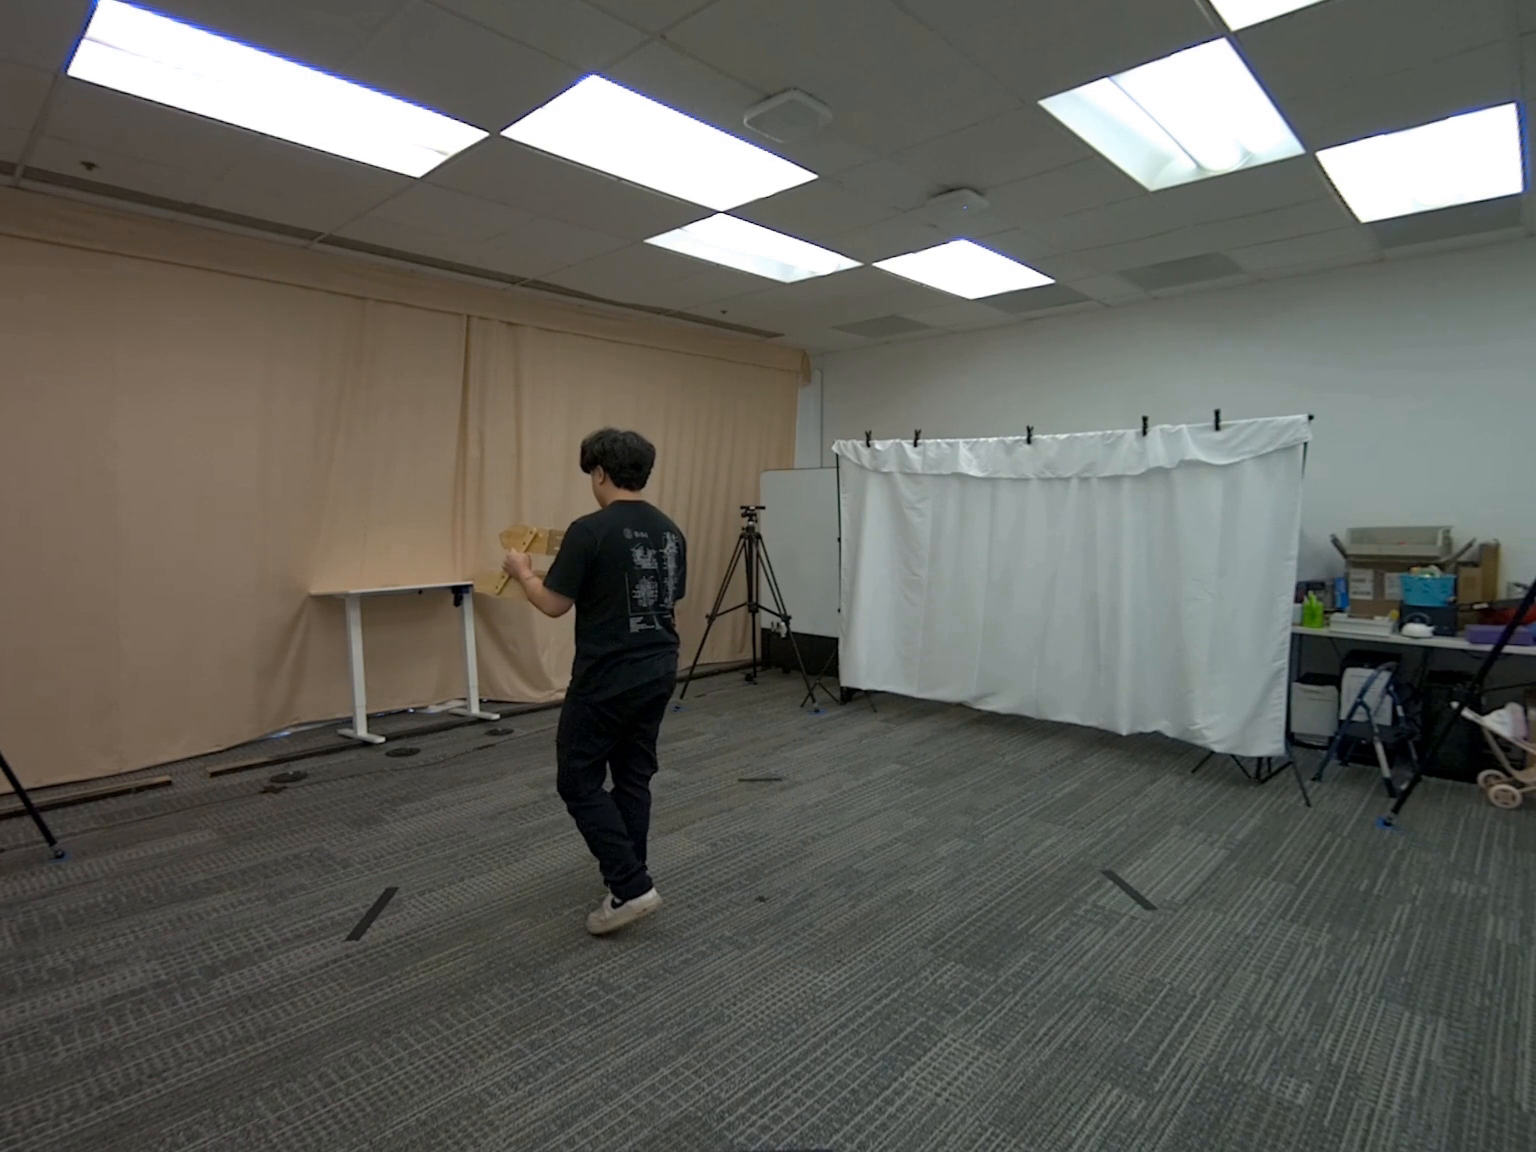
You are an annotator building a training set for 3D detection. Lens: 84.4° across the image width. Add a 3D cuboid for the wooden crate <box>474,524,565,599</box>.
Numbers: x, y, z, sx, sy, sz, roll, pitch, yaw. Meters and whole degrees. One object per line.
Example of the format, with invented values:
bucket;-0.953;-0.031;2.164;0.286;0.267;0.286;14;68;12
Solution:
wooden crate;-0.879;-0.057;3.101;0.308;0.273;0.318;9;2;17
